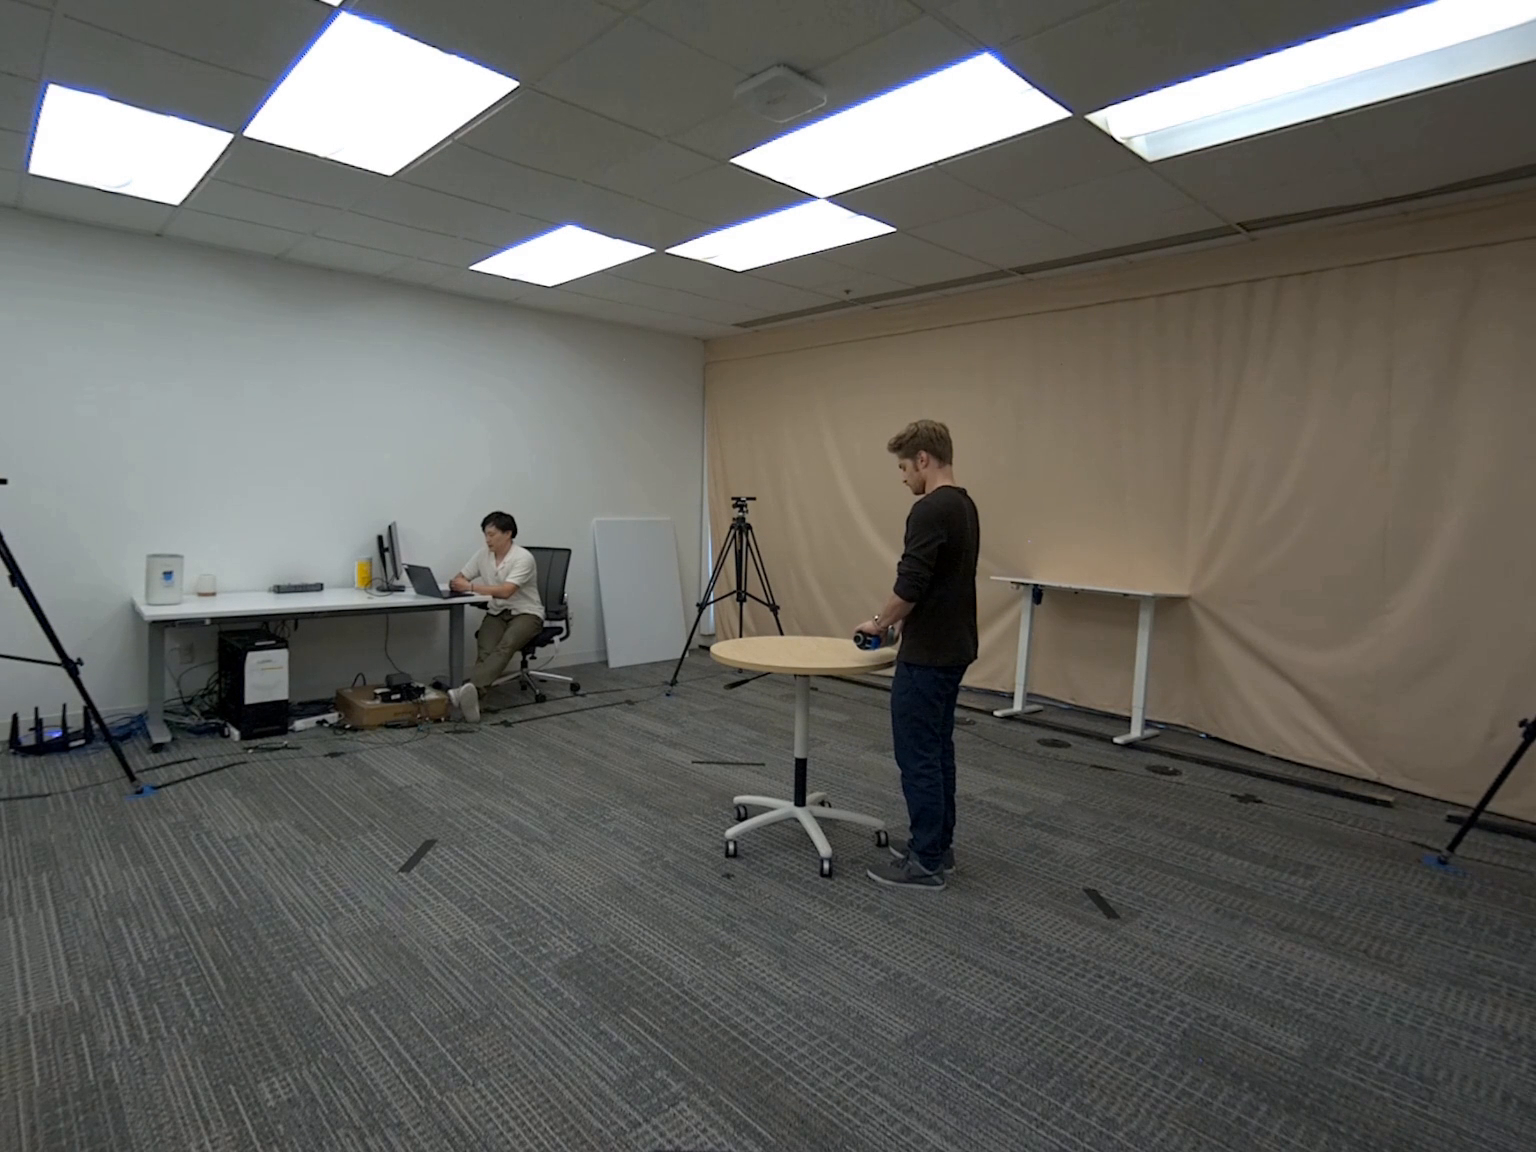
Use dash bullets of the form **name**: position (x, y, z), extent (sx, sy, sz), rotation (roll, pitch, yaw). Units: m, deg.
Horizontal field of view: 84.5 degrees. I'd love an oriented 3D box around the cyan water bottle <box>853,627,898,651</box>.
- **cyan water bottle**: position (0.419, 0.237, 3.254), extent (0.094, 0.092, 0.277), rotation (4, 3, 29)
